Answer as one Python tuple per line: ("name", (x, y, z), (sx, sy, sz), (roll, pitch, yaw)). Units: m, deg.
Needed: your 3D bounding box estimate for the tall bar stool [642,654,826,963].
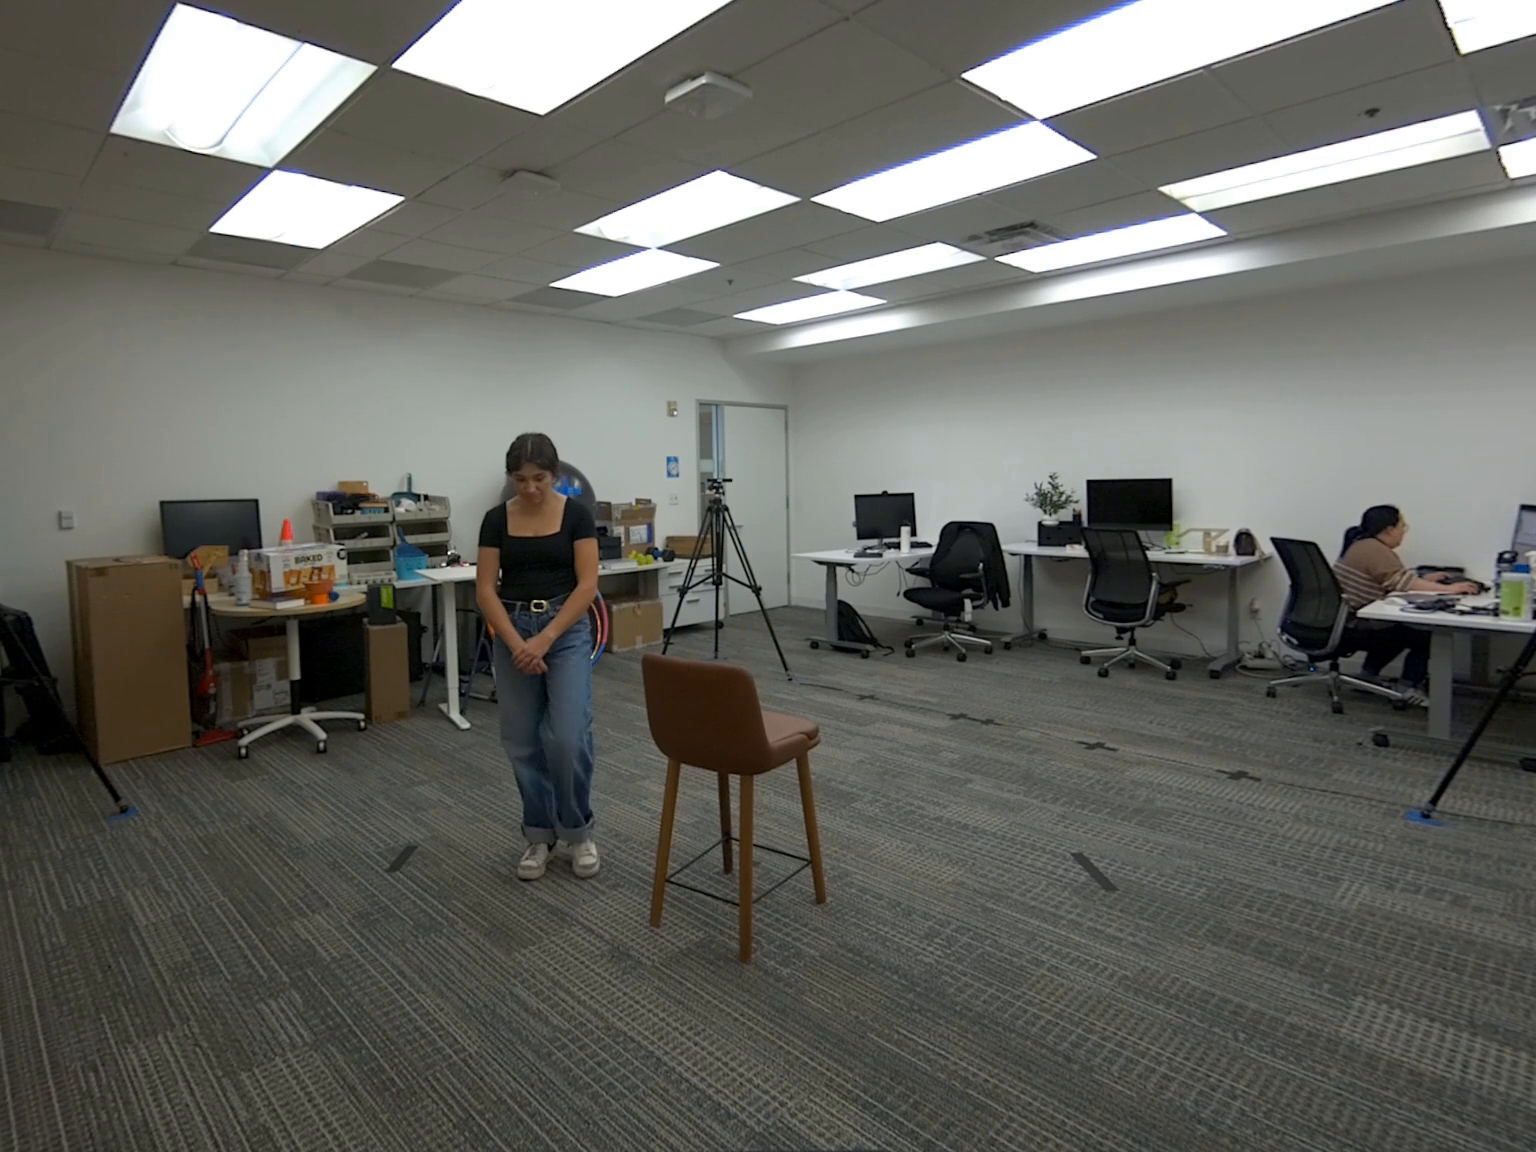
("tall bar stool", (-0.105, 0.657, 2.722), (0.469, 0.885, 0.457), (2, 7, 36))
